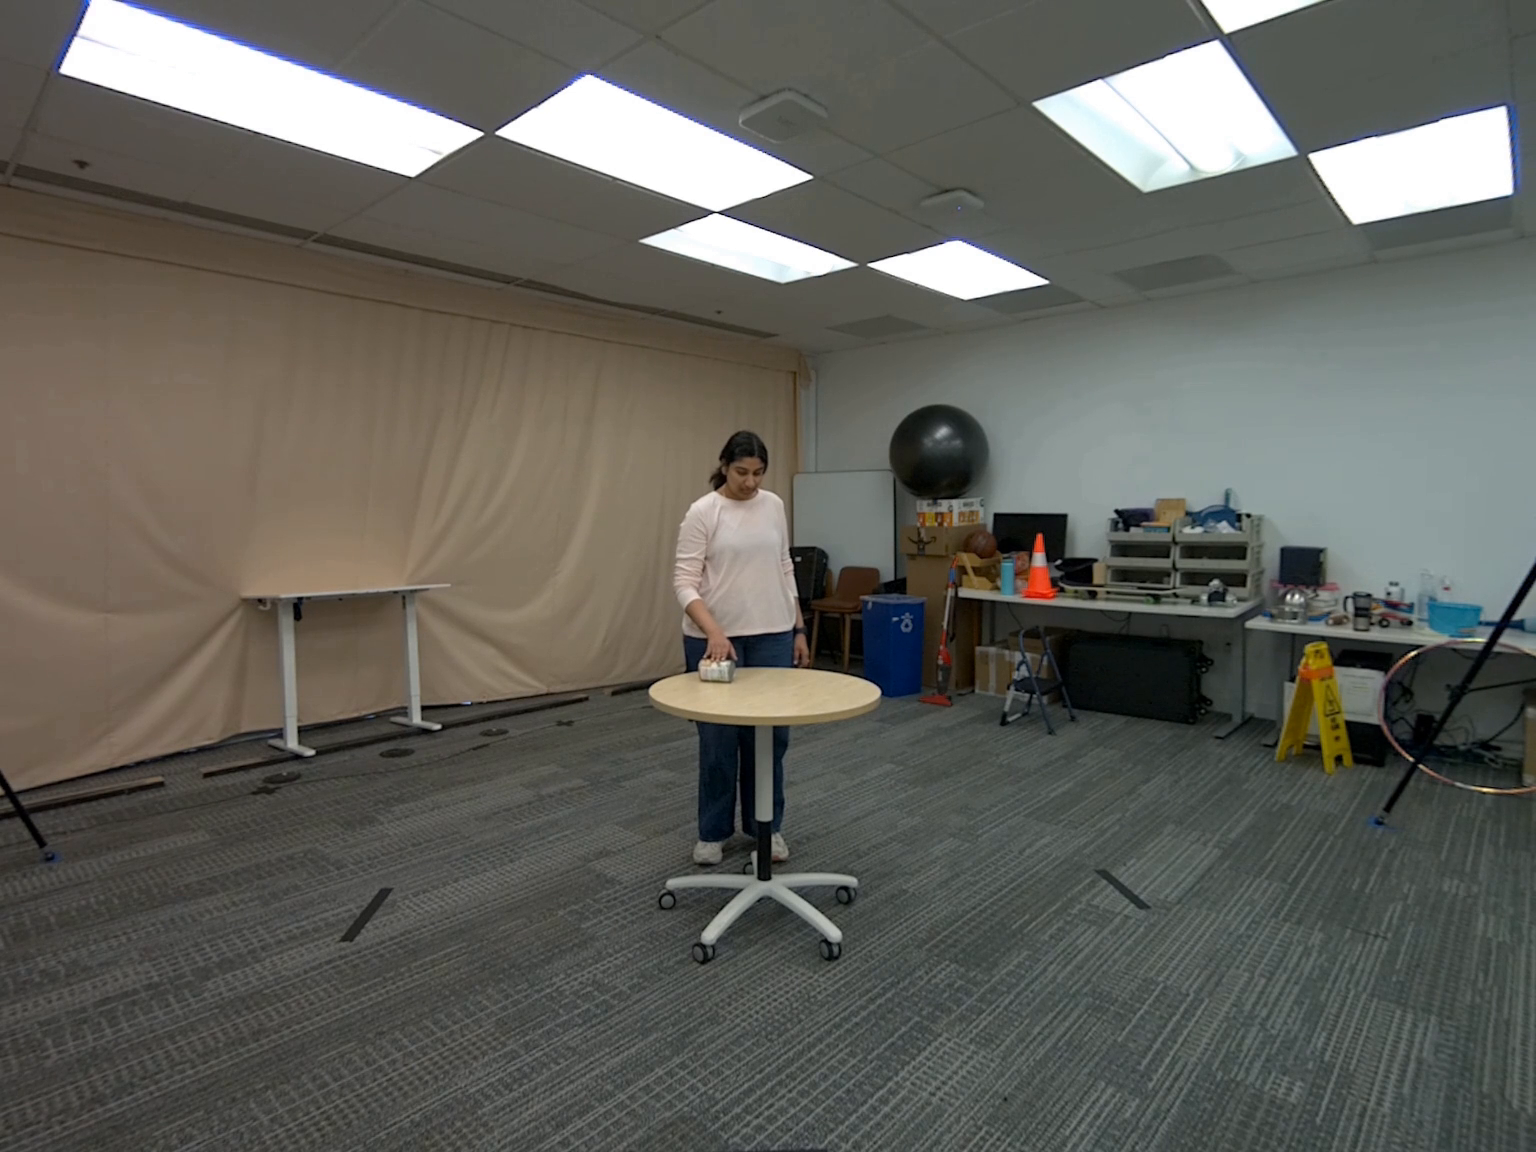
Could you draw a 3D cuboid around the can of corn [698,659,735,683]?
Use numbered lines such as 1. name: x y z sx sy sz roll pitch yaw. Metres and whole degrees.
1. can of corn: -0.179 0.326 2.927 0.113 0.074 0.073 2 4 14
